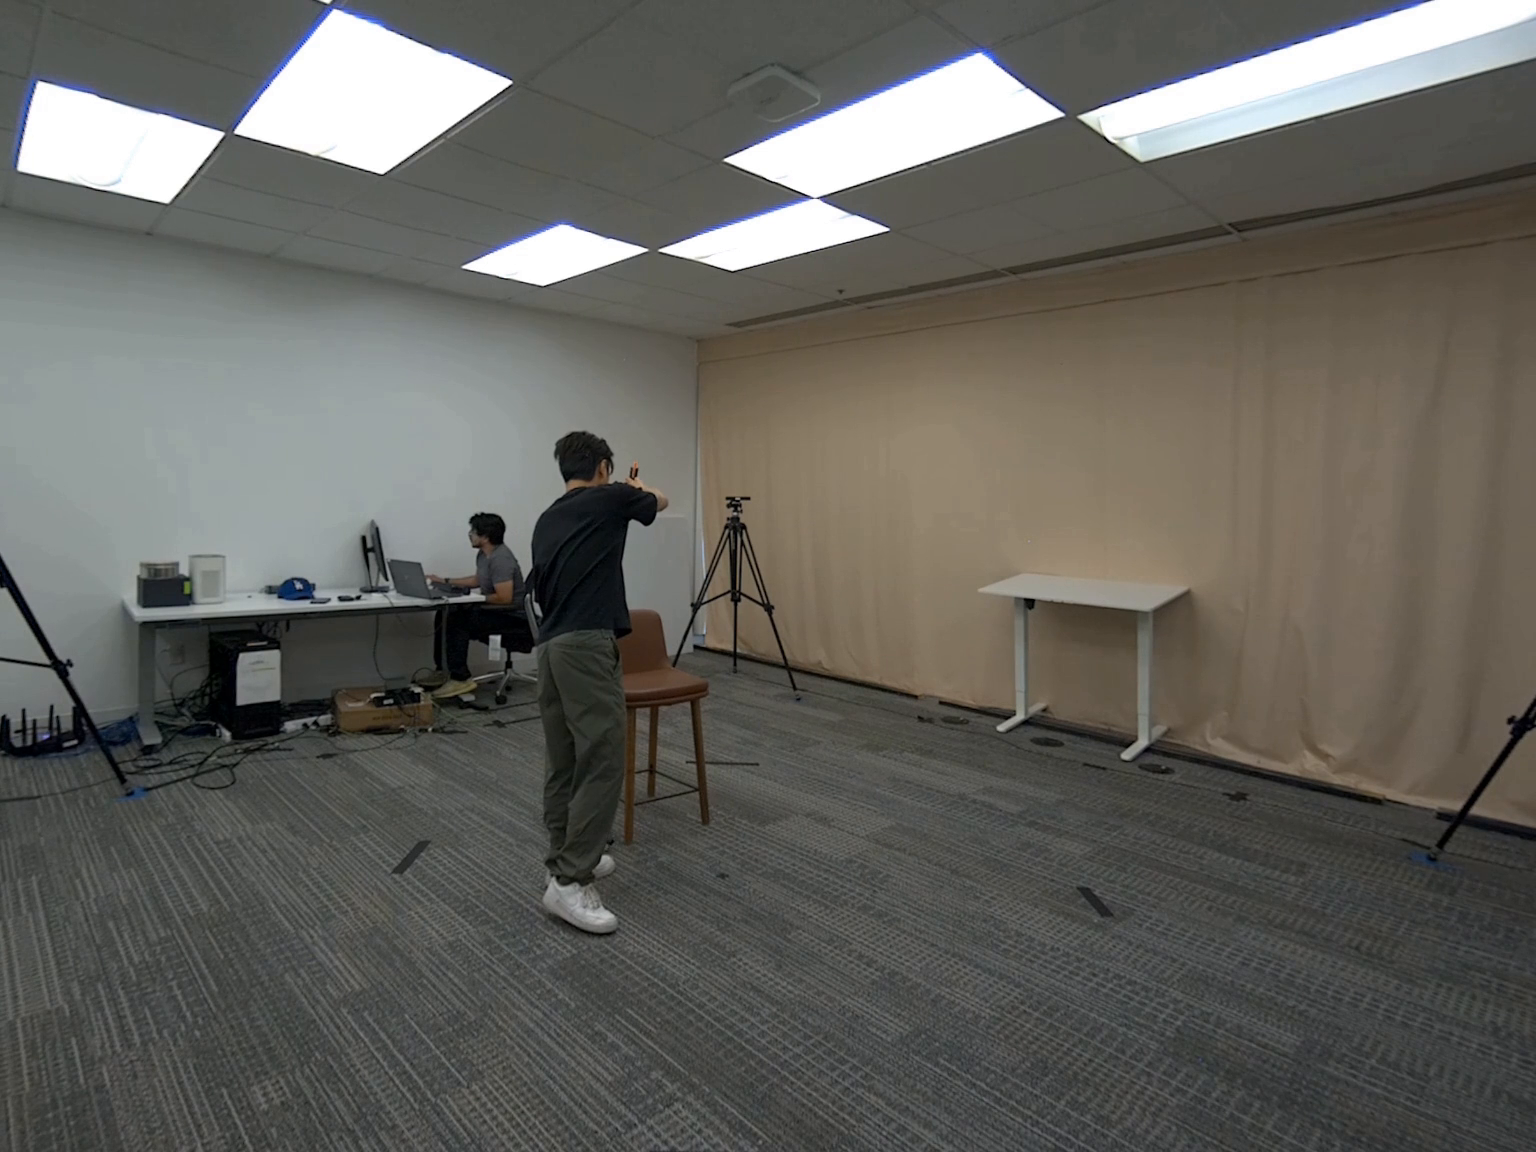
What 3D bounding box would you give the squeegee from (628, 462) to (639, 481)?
[{"bbox_3d":[-0.666,0.285,3.464,0.448,1.541,0.051,3,-5,42],"label":"squeegee"}]
